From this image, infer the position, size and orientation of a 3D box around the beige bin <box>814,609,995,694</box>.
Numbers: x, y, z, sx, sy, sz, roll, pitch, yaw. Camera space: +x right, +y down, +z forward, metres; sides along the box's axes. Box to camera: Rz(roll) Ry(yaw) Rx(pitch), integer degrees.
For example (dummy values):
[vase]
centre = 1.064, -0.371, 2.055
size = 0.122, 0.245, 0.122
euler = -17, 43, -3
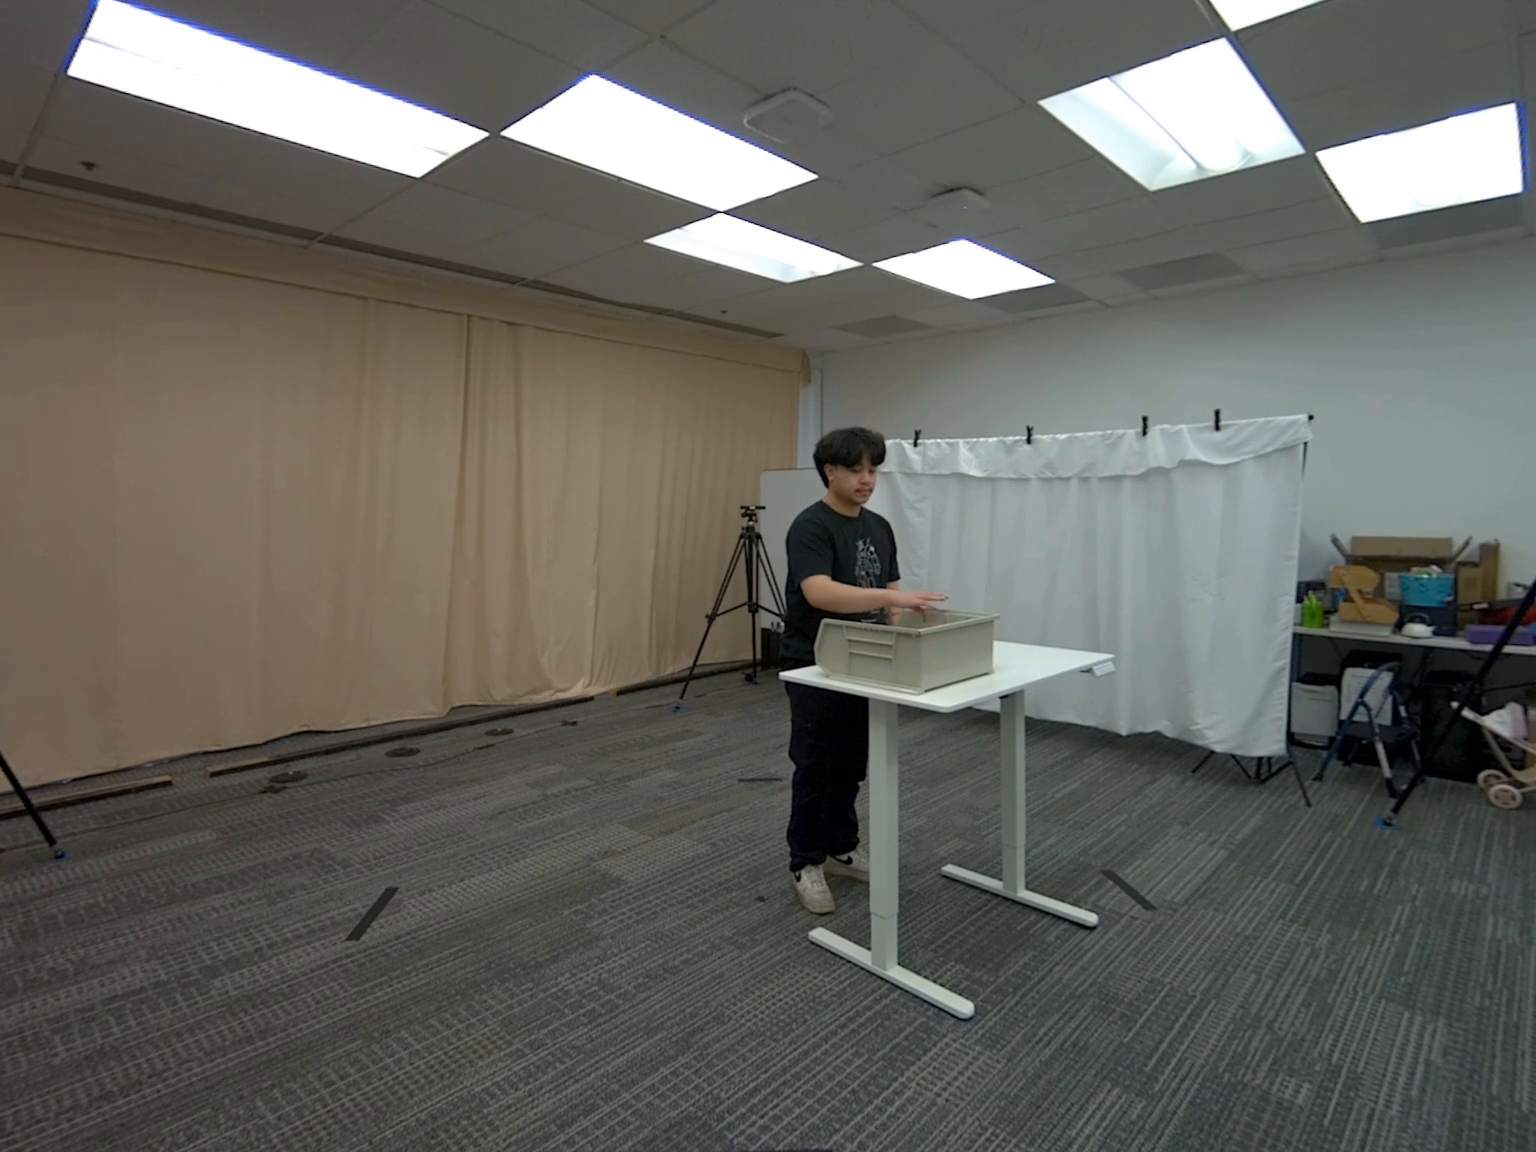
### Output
[beige bin]
centre = 0.413, 0.212, 2.538
size = 0.409, 0.188, 0.390
euler = -5, 7, -45
